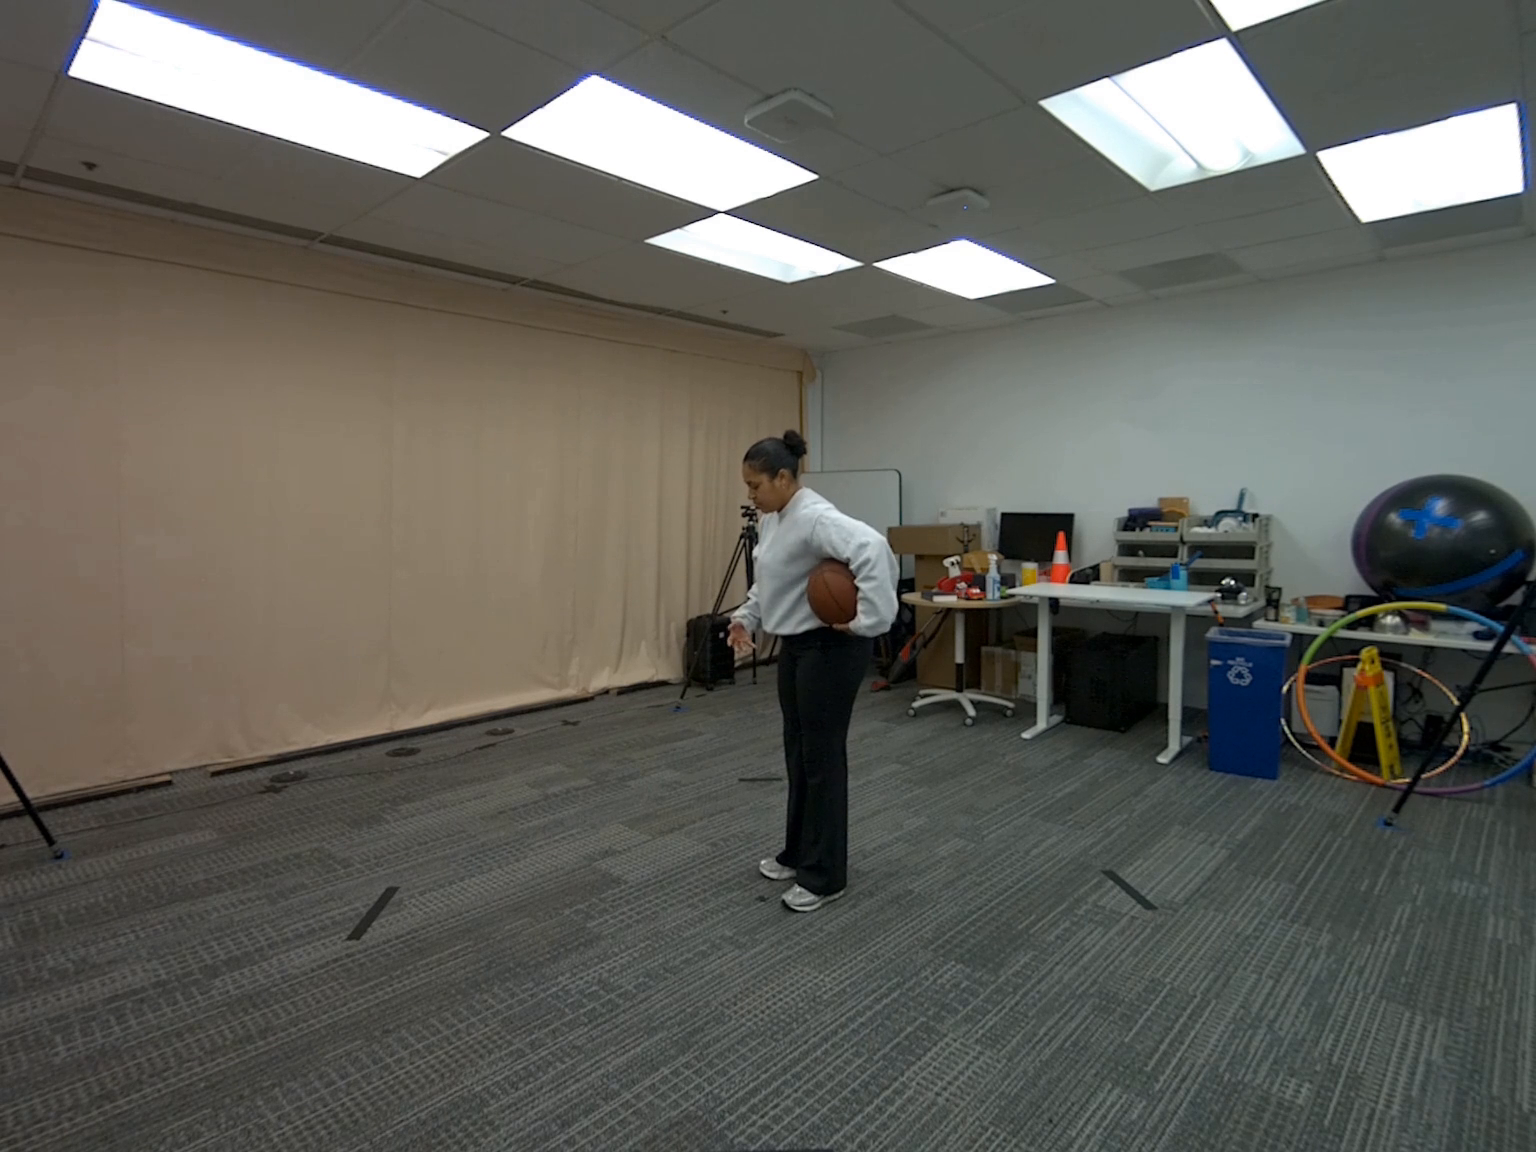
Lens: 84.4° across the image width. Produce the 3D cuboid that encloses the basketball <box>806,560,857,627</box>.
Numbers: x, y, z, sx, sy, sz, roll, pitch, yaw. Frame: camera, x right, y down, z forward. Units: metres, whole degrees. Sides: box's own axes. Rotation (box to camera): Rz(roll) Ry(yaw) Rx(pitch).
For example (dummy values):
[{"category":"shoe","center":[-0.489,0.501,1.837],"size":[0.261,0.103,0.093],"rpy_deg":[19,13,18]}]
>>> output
[{"category":"basketball","center":[0.237,0.051,2.745],"size":[0.236,0.235,0.237],"rpy_deg":[0,4,-2]}]
